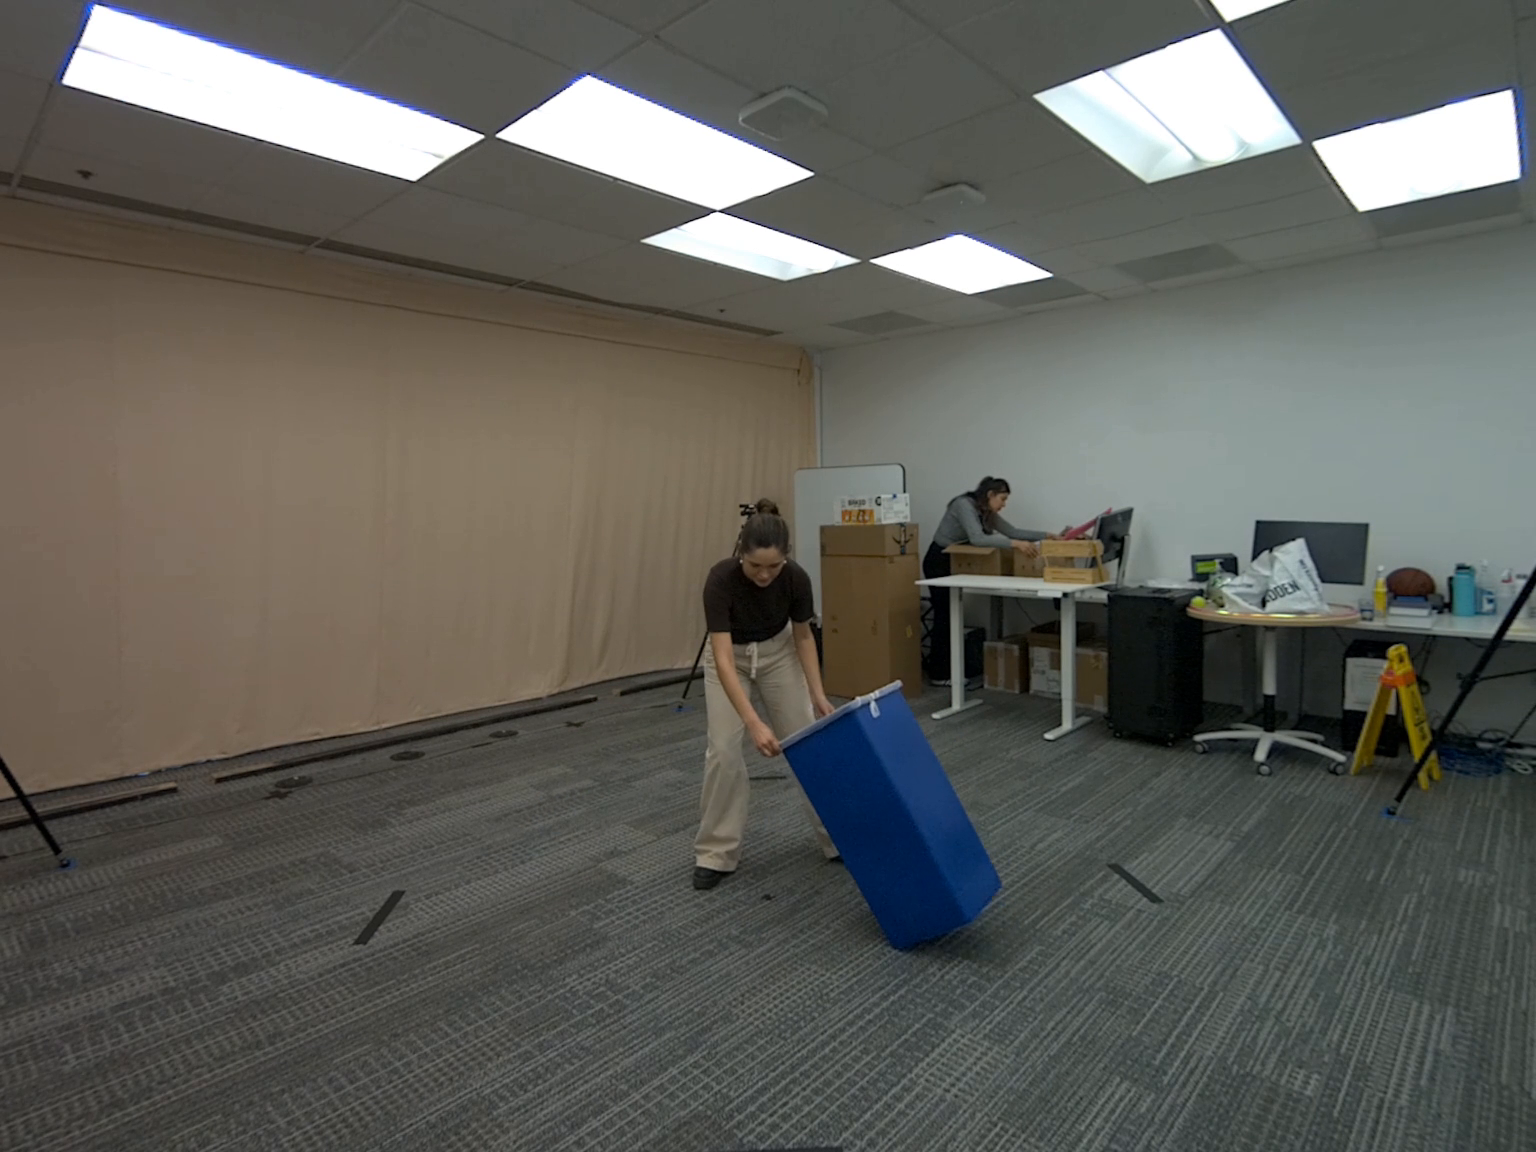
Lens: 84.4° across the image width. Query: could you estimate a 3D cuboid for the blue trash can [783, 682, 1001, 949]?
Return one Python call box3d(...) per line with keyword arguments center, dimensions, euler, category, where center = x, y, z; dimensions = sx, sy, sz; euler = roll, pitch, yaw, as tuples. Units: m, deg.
box3d(center=(0.398, 0.772, 2.748), dimensions=(0.379, 0.725, 0.367), euler=(-37, -17, 32), category="blue trash can")
